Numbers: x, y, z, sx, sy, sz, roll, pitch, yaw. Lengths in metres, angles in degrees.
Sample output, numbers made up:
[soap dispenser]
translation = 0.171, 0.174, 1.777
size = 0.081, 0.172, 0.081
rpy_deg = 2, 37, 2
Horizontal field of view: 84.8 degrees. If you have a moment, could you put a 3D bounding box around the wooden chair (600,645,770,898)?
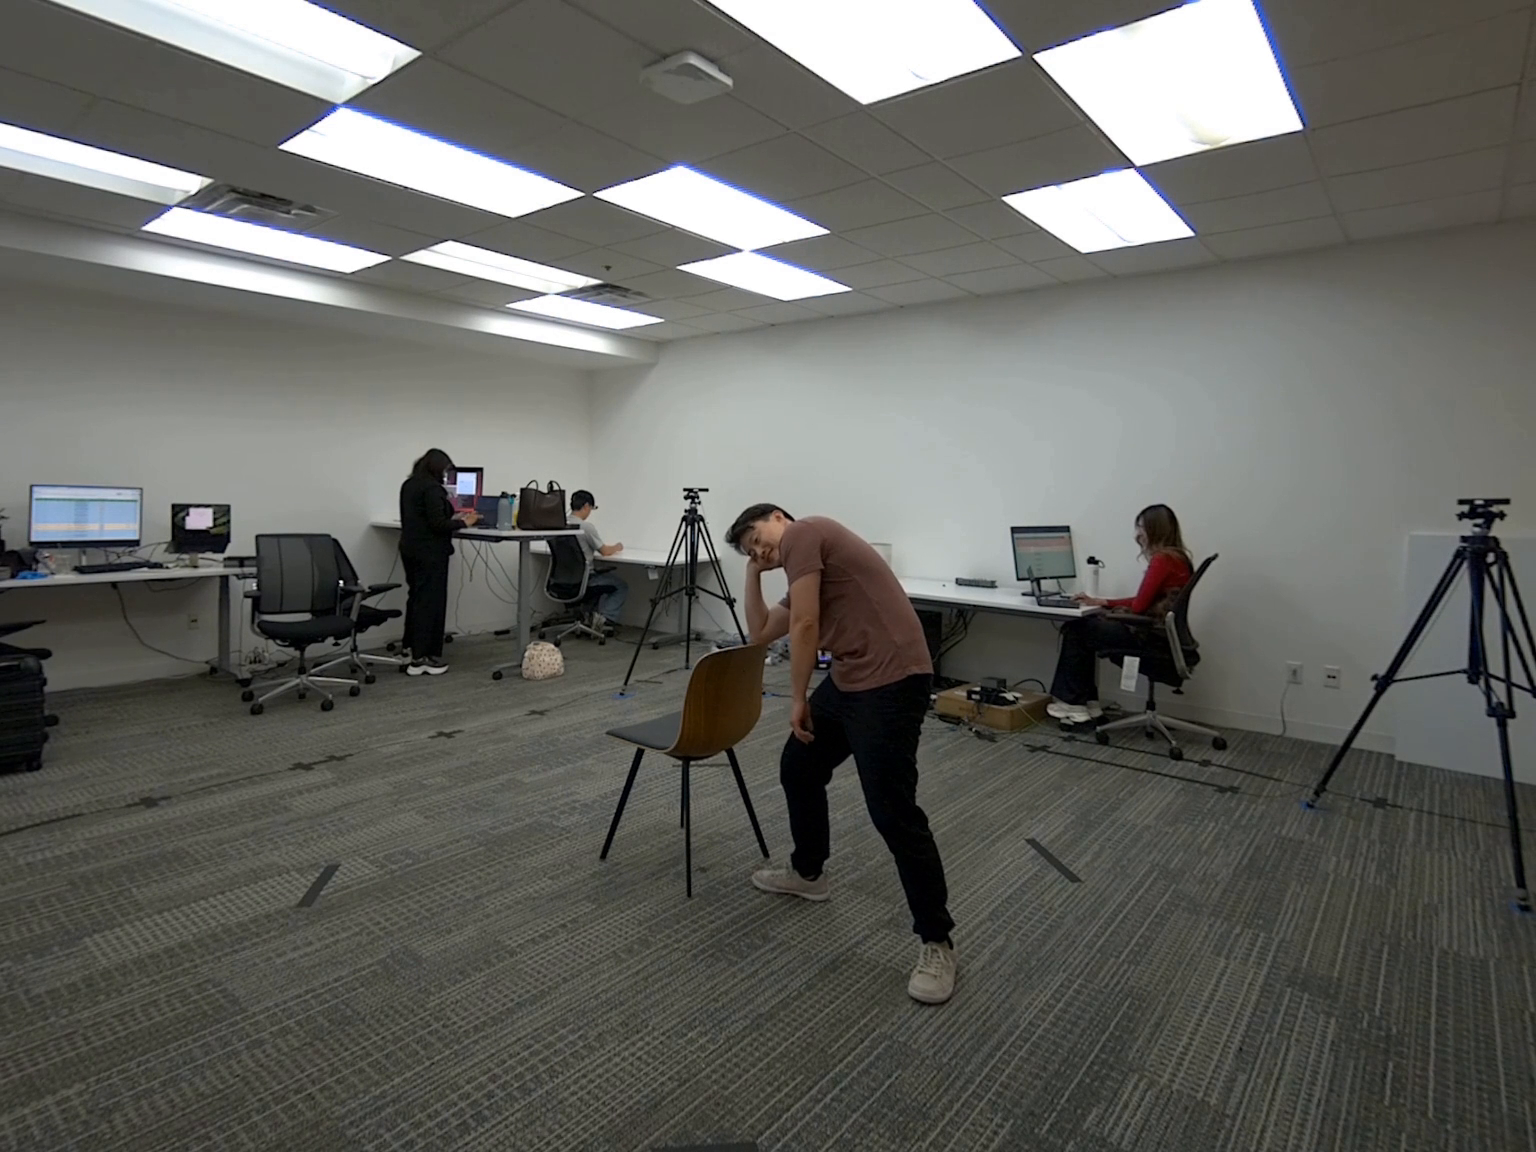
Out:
[wooden chair]
translation = -0.318, 0.634, 3.178
size = 0.542, 0.873, 0.464
rpy_deg = 10, 8, 38
